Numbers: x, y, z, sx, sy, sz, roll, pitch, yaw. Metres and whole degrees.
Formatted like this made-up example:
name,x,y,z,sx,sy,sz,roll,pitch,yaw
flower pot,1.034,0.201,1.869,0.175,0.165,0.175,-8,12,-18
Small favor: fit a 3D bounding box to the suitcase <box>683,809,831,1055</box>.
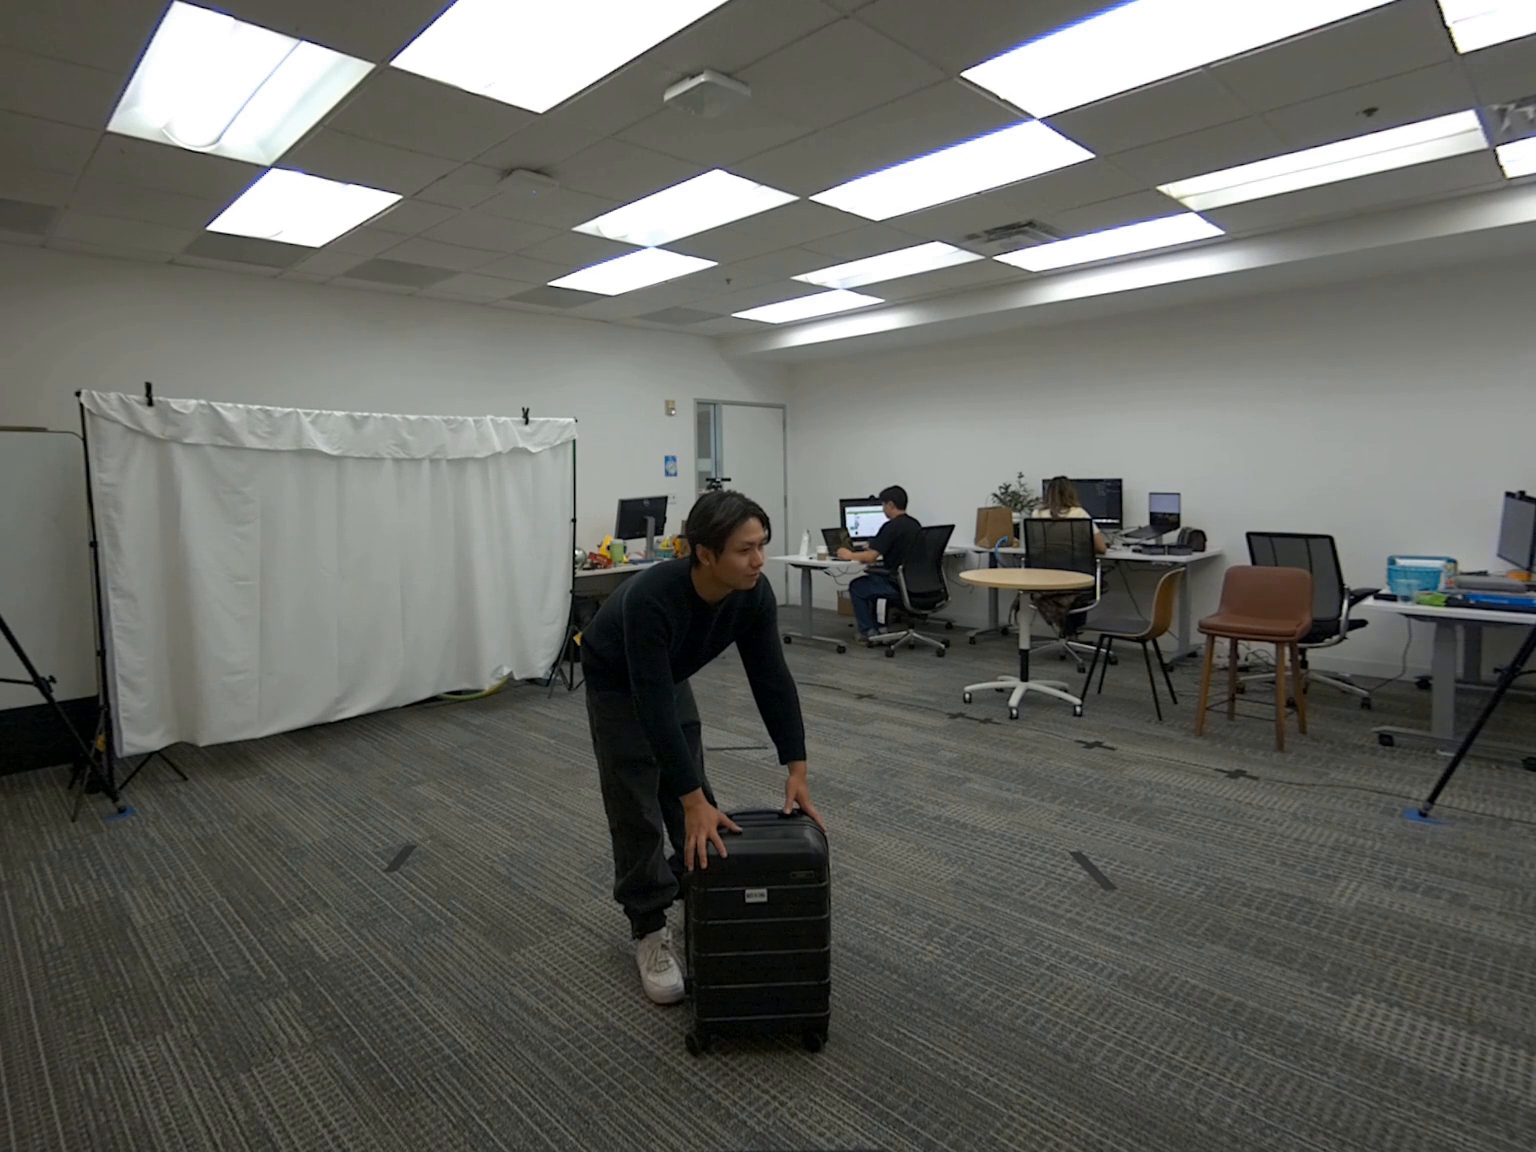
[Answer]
name,x,y,z,sx,sy,sz,roll,pitch,yaw
suitcase,-0.016,0.877,2.159,0.374,0.547,0.250,-2,4,-3
